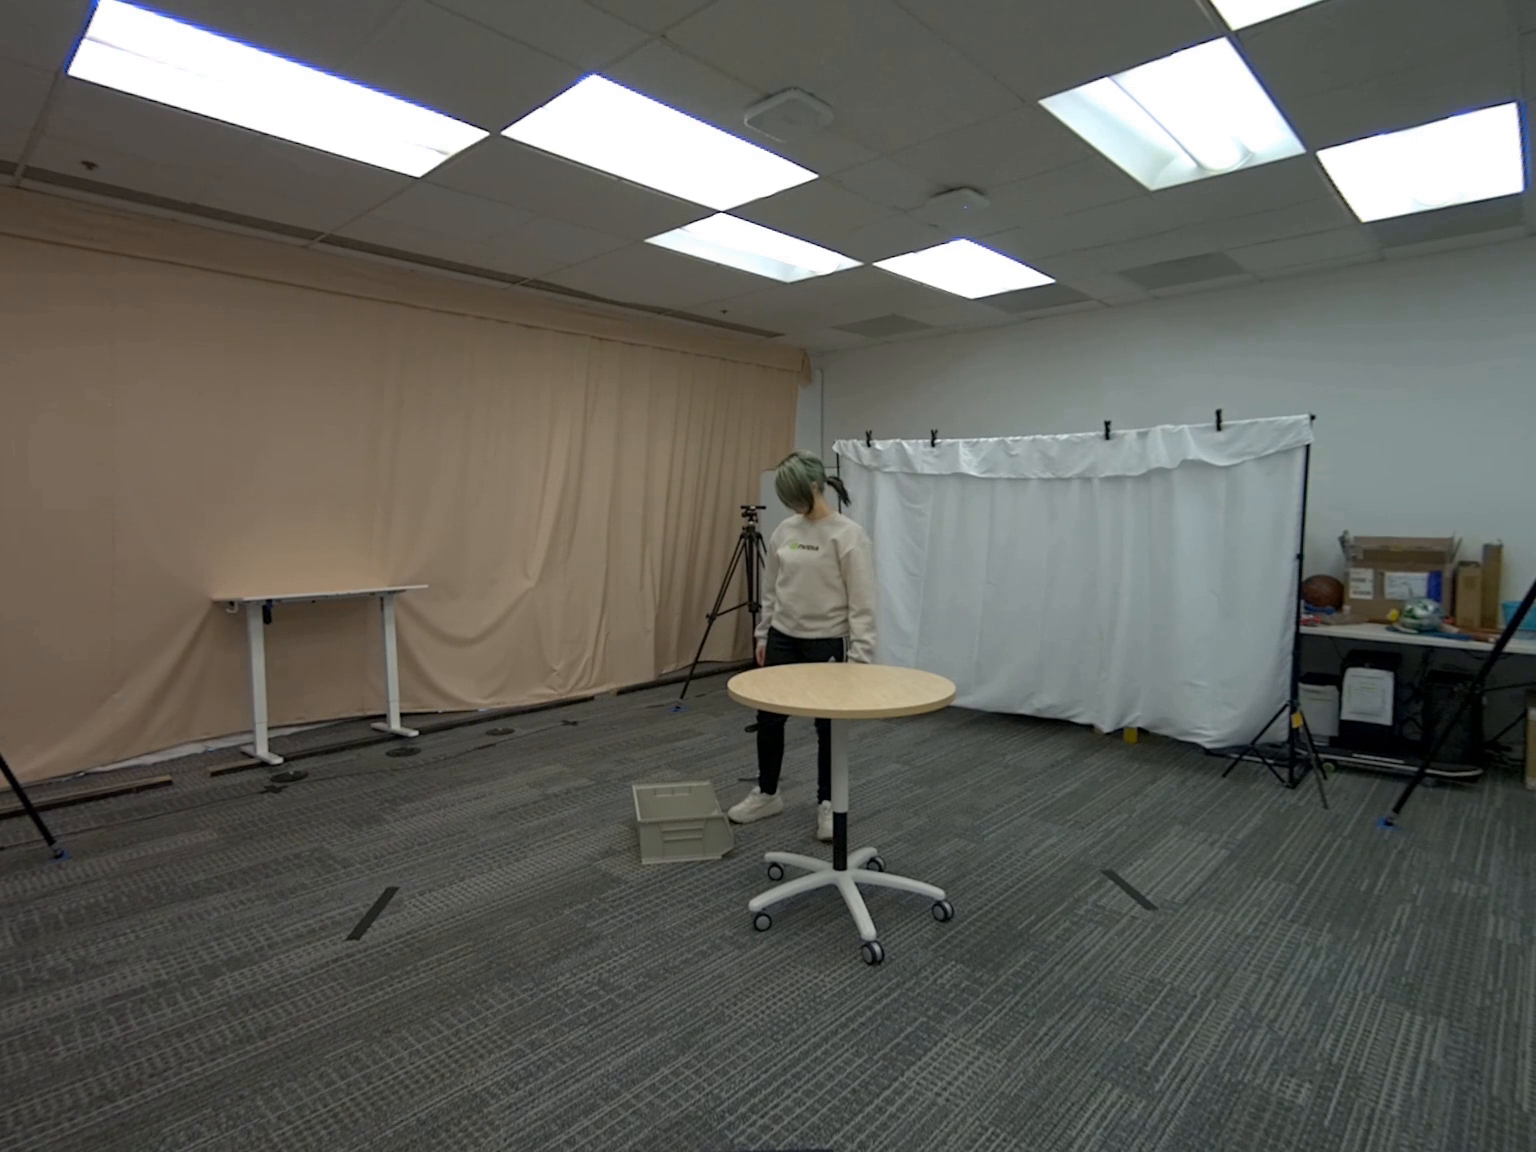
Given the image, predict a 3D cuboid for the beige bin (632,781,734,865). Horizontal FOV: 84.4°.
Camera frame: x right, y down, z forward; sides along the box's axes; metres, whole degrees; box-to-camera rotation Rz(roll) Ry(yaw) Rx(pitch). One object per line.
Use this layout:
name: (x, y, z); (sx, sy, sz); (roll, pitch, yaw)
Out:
beige bin: (-0.362, 1.016, 3.500); (0.373, 0.188, 0.428); (-2, 5, -11)
